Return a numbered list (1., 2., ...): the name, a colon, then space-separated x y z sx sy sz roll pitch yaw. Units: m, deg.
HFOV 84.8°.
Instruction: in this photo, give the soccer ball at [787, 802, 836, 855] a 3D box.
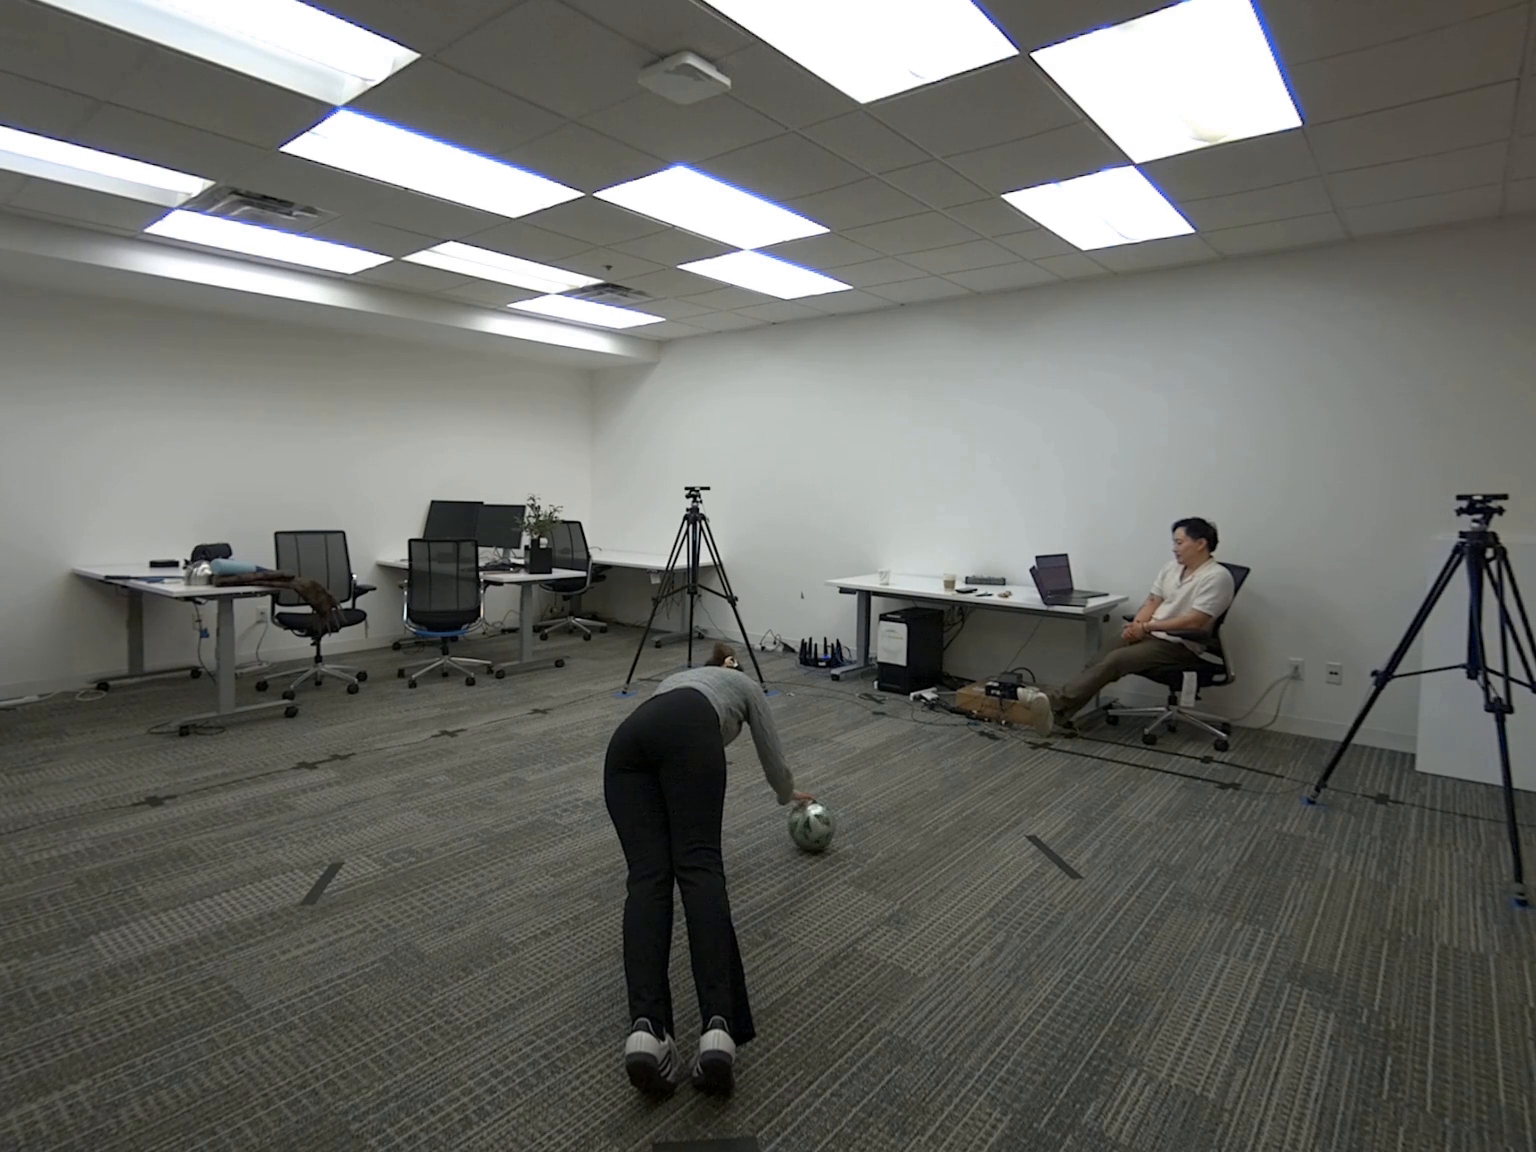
1. soccer ball: 0.150 0.960 3.289 0.187 0.187 0.188 1 4 -2
